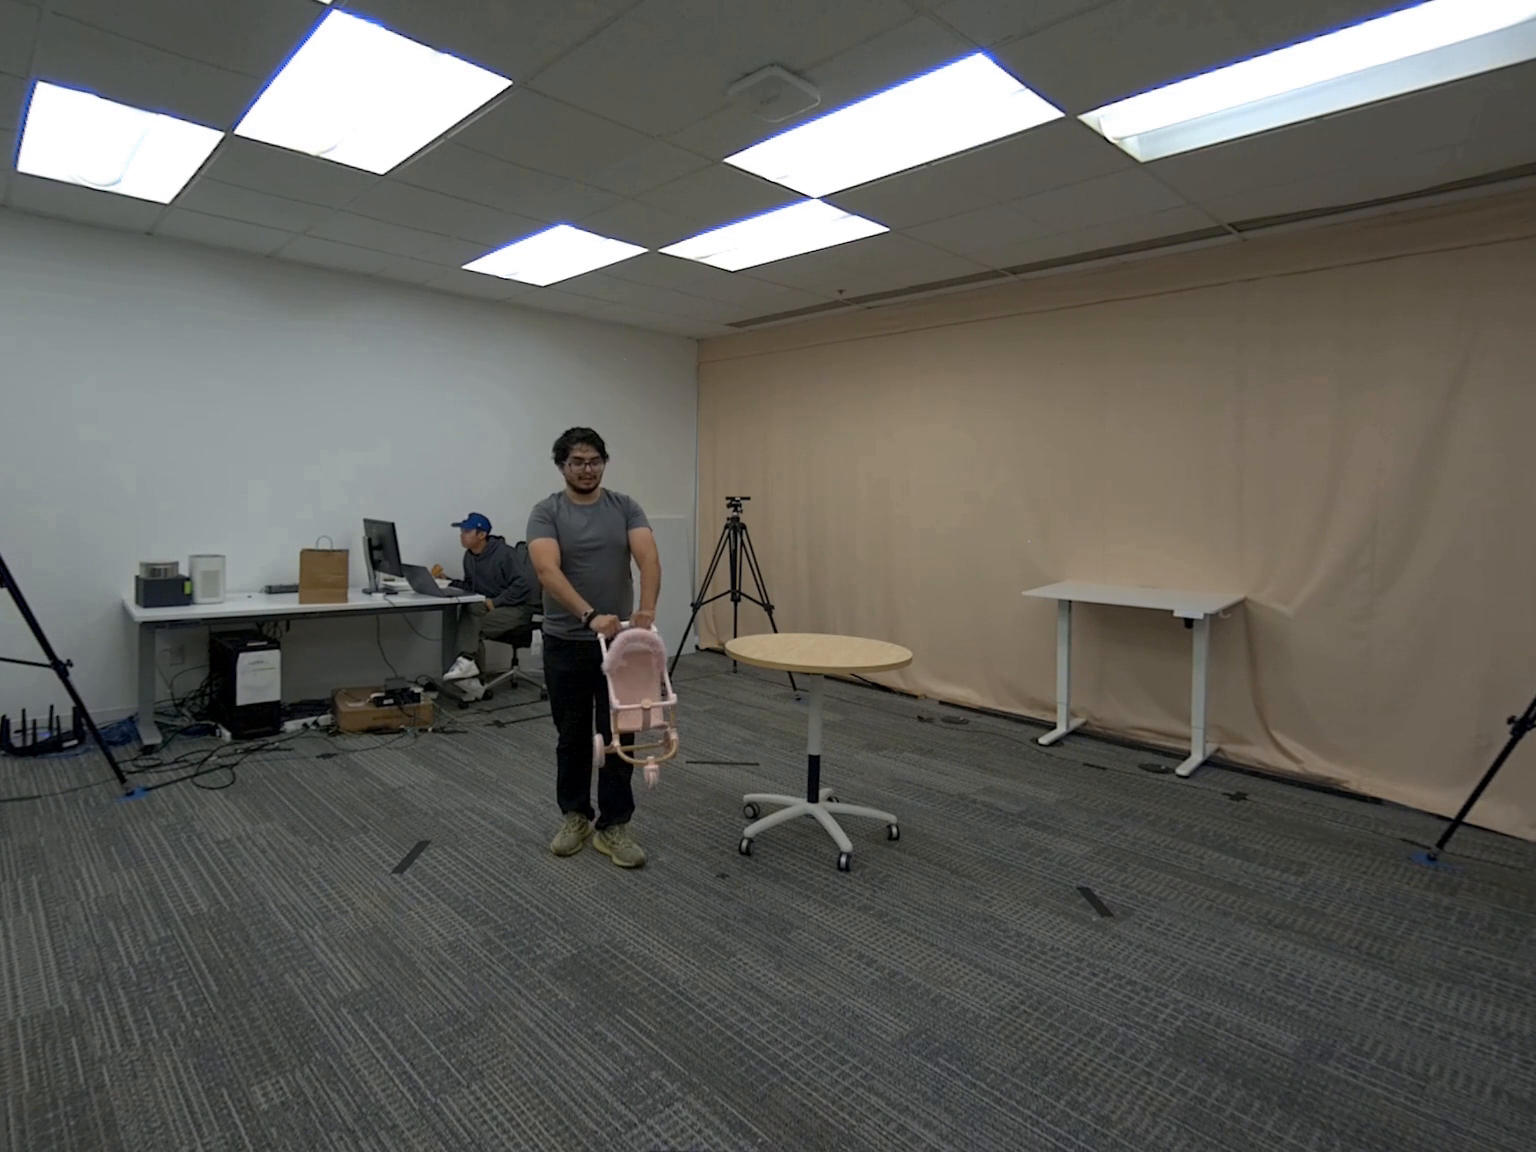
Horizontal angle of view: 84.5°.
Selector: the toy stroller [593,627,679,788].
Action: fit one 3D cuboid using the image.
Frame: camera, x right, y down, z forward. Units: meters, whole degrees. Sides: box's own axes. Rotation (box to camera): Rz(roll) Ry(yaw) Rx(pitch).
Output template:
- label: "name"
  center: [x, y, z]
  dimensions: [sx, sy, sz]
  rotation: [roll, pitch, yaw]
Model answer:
- label: "toy stroller"
  center: [-0.438, 0.421, 2.771]
  dimensions: [0.278, 0.538, 0.343]
  rotation: [-1, -7, -15]
